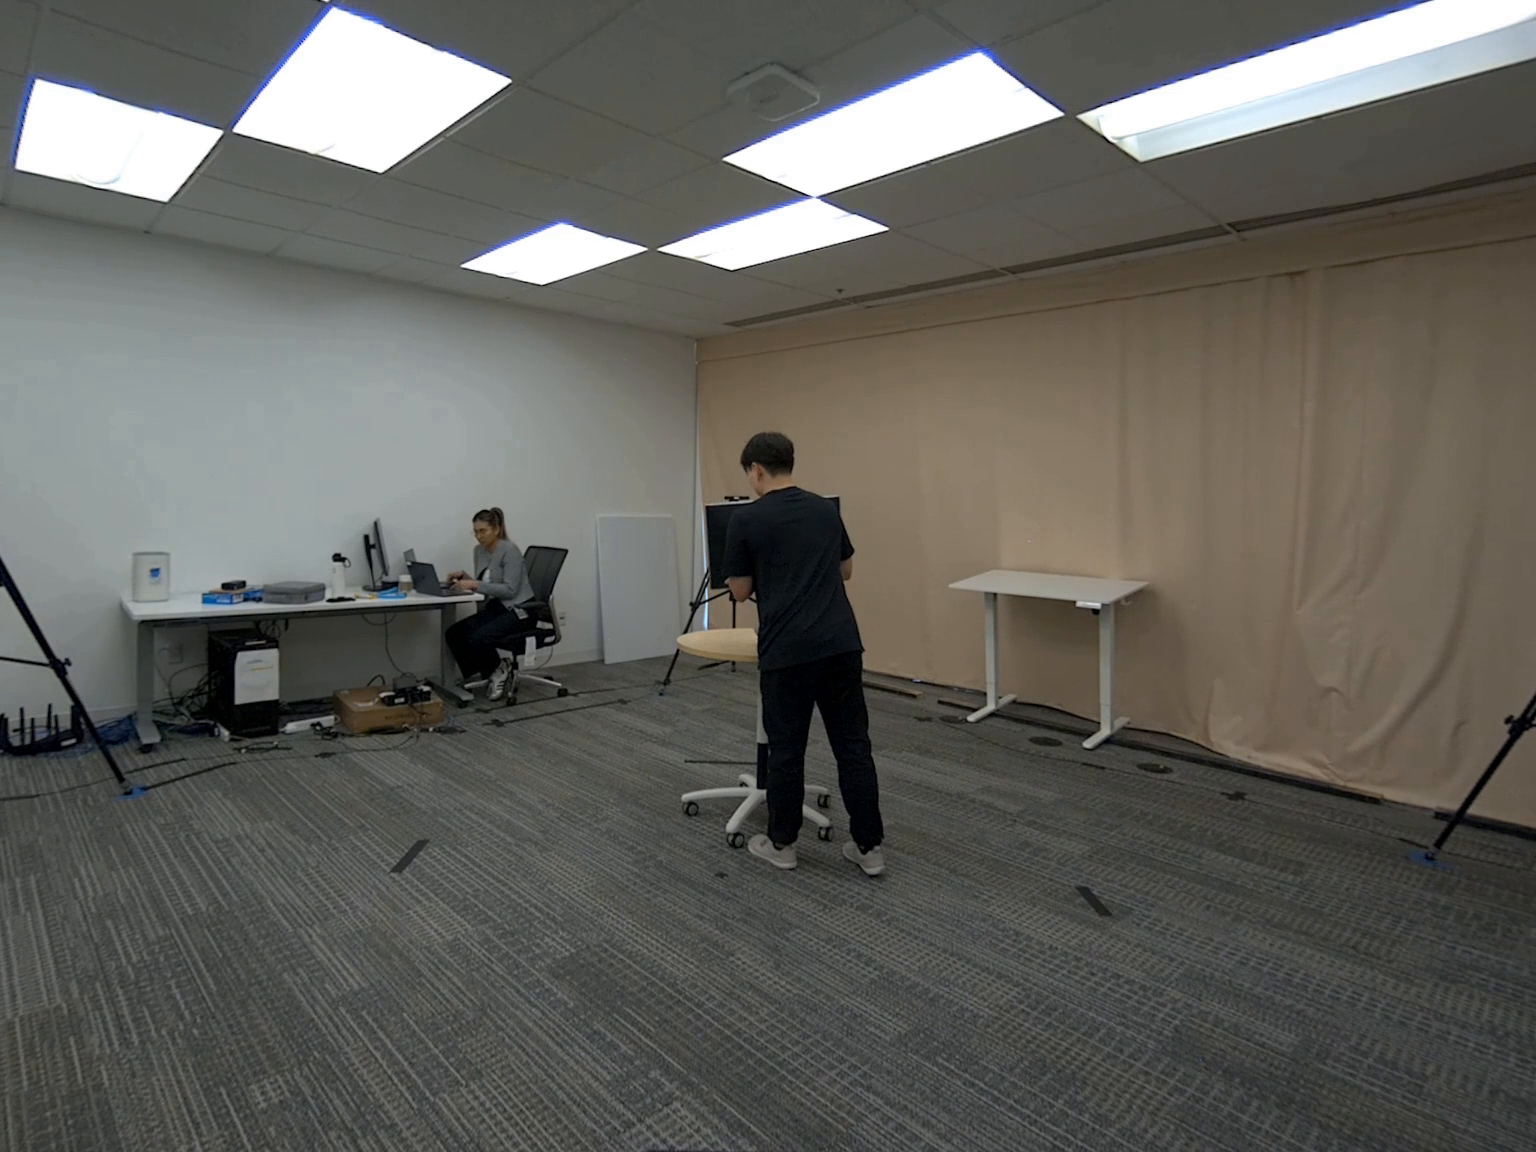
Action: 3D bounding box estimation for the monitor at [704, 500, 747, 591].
[{"bbox_3d":[0.043,-0.029,3.443,0.538,0.523,0.187,-3,0,-3],"label":"monitor"}]
